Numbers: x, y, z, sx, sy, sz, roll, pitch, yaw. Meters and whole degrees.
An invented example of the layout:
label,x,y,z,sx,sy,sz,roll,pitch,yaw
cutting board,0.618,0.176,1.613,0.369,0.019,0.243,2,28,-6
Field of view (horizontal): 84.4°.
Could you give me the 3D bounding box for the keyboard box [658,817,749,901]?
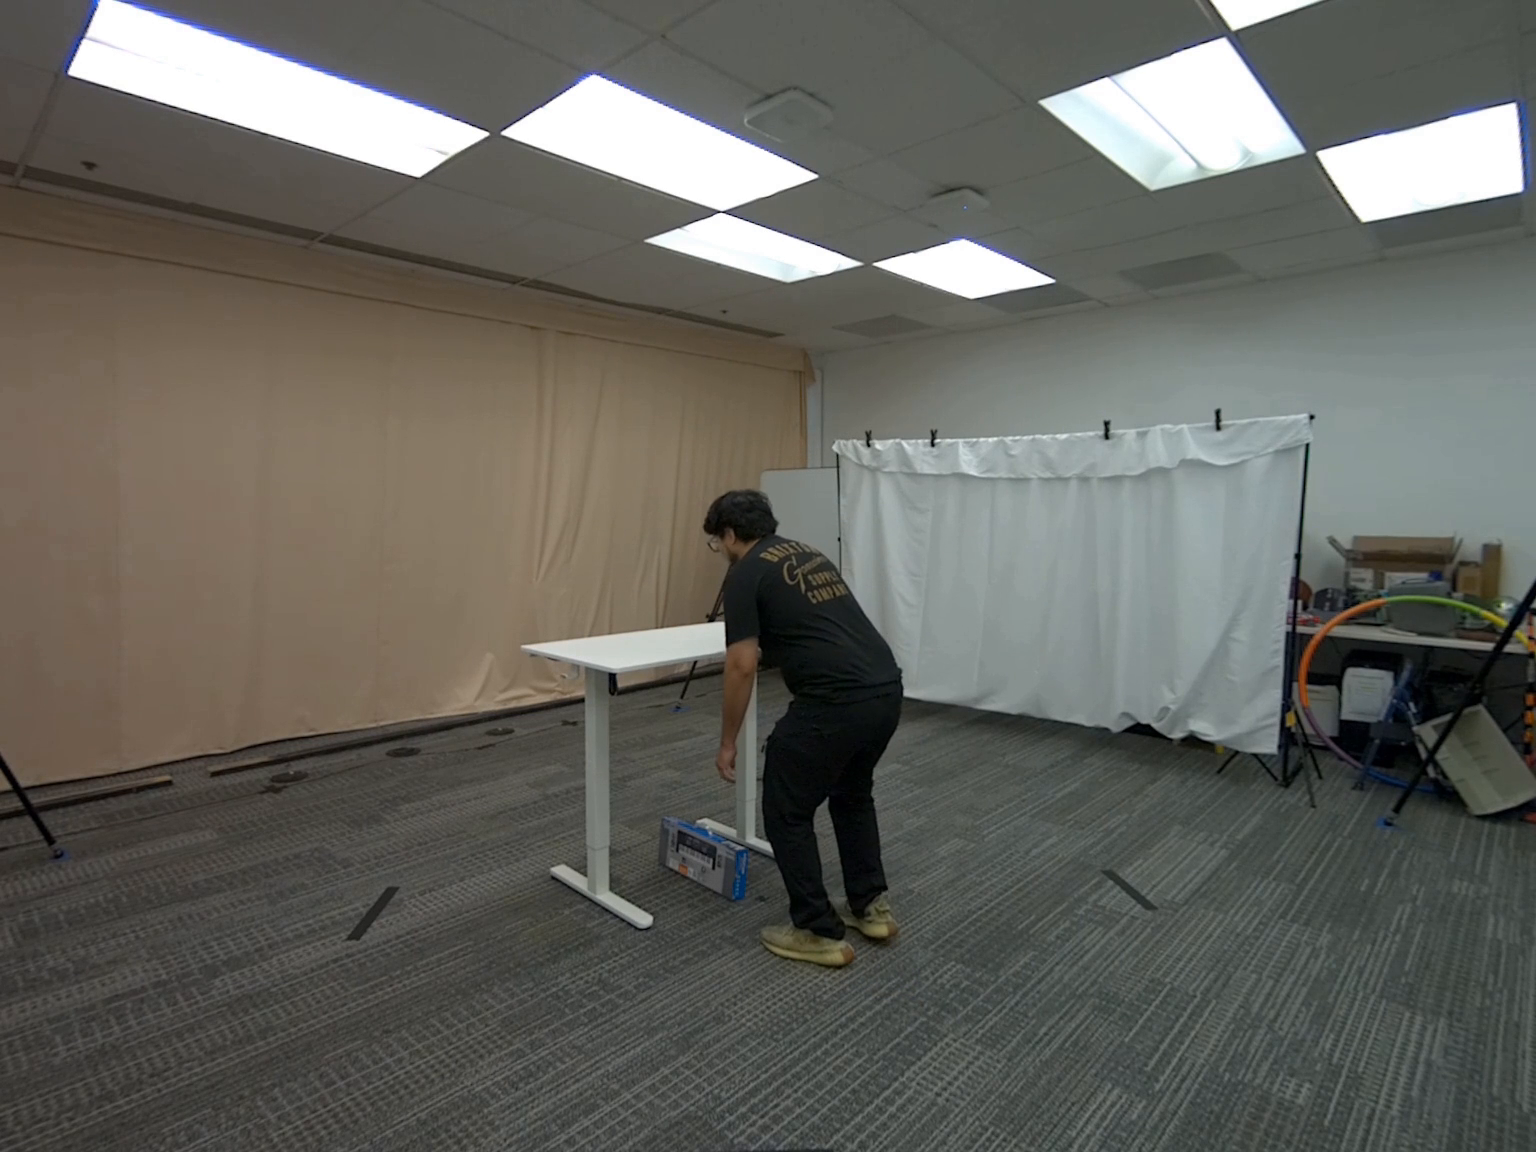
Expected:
label,x,y,z,sx,sy,sz,roll,pitch,yaw
keyboard box,-0.249,1.045,3.139,0.057,0.176,0.451,7,-2,-43
